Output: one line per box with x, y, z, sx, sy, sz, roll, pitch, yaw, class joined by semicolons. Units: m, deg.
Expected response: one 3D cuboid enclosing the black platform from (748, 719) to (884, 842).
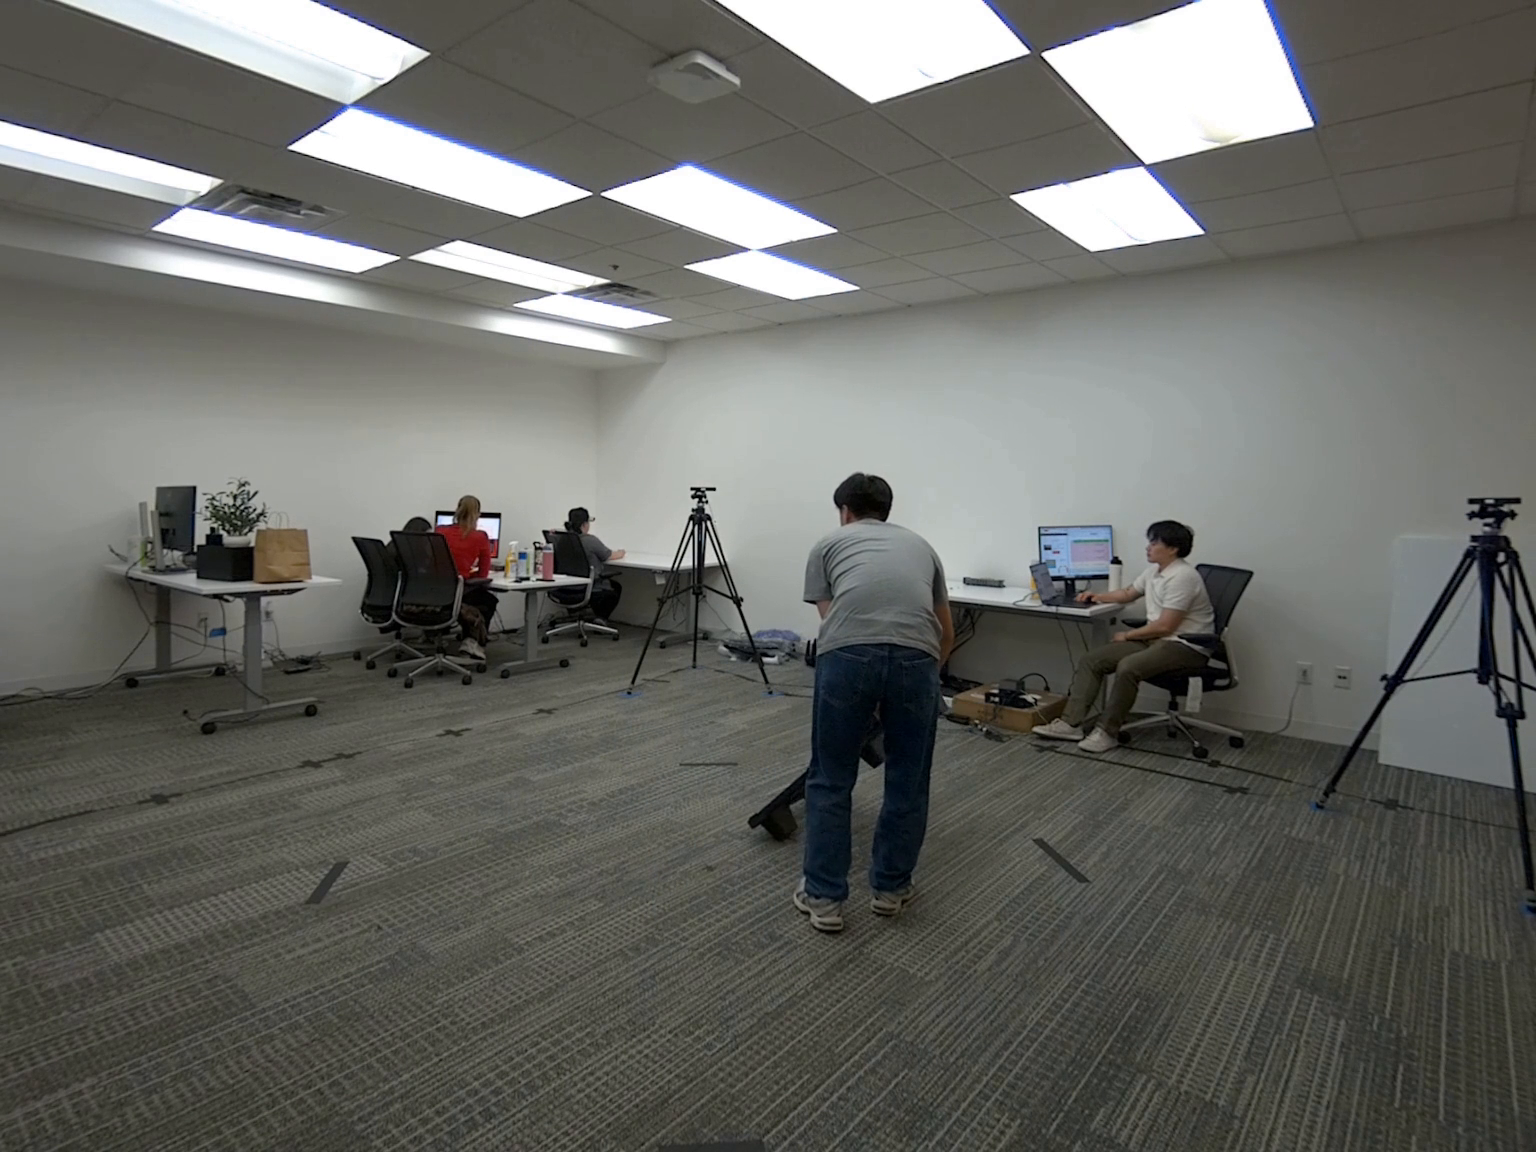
0.336;0.738;3.420;0.805;0.147;0.590;-47;-18;25;black platform
